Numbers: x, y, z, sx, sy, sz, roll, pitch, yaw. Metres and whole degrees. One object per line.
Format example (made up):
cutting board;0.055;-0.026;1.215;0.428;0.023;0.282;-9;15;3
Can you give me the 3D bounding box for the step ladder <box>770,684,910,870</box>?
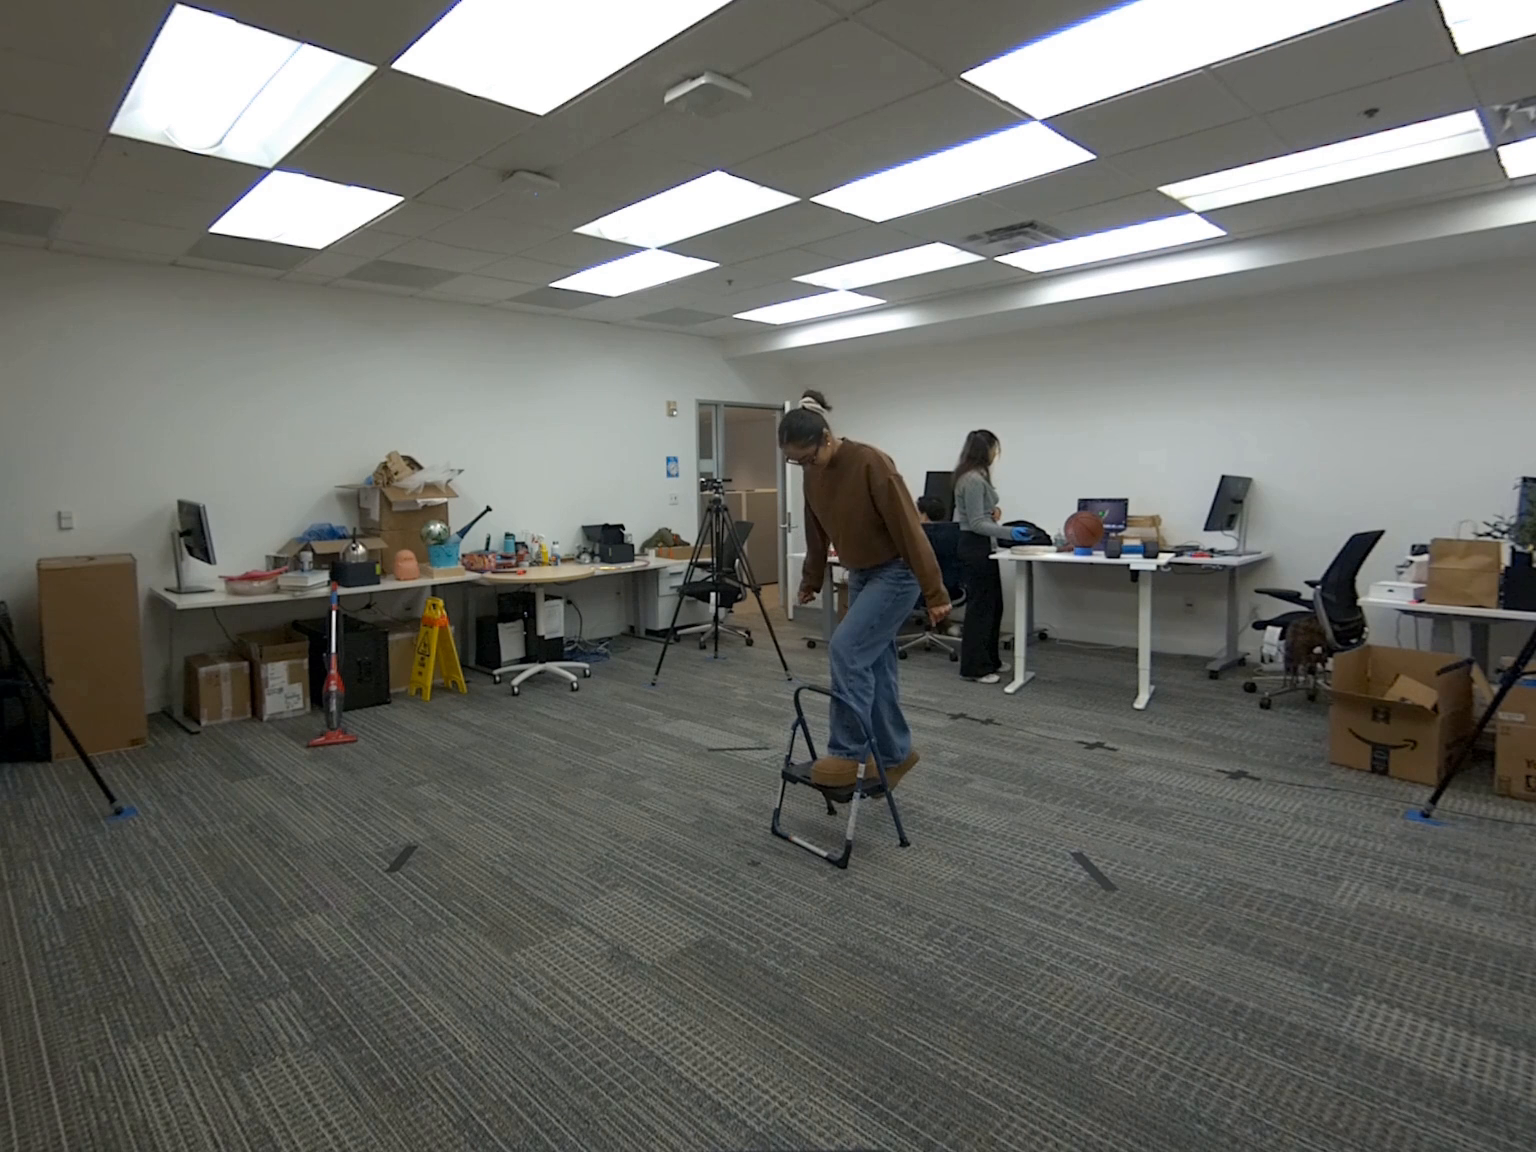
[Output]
step ladder;0.268;0.718;3.288;0.340;0.604;0.444;-4;6;-38
